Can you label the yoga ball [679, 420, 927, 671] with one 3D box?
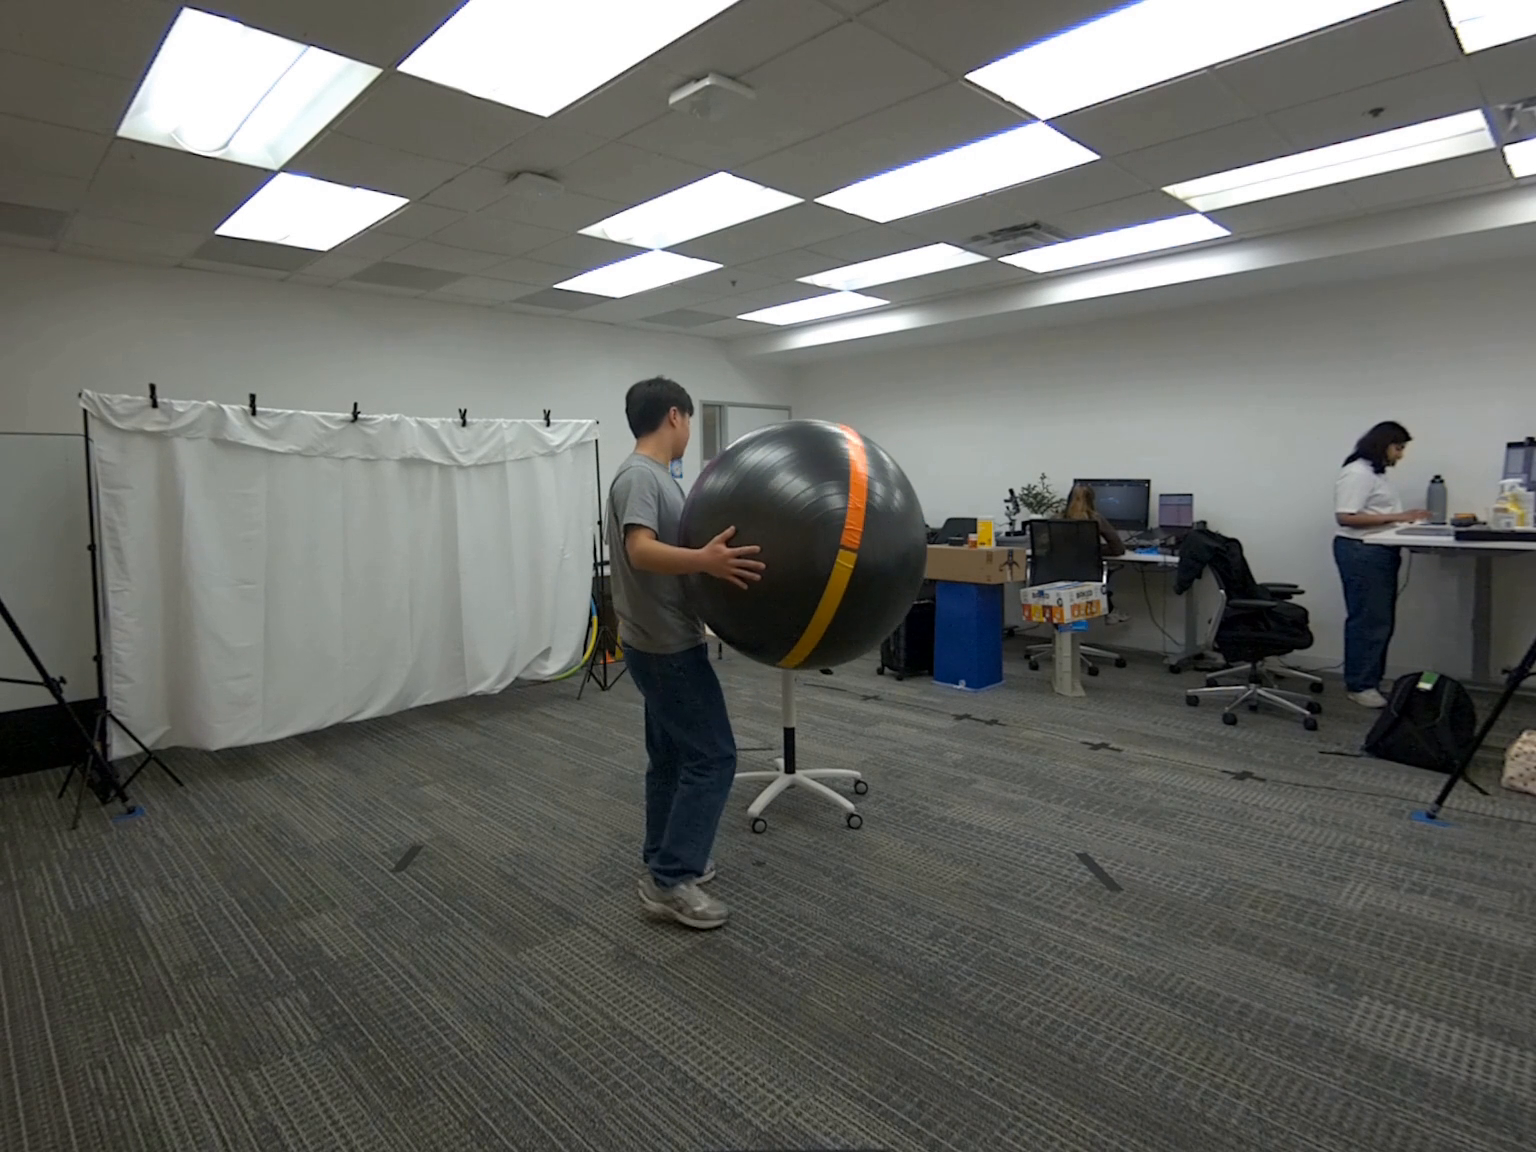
[{"bbox_3d":[0.105,-0.092,2.608,0.757,0.755,0.762,-1,5,-2],"label":"yoga ball"}]
